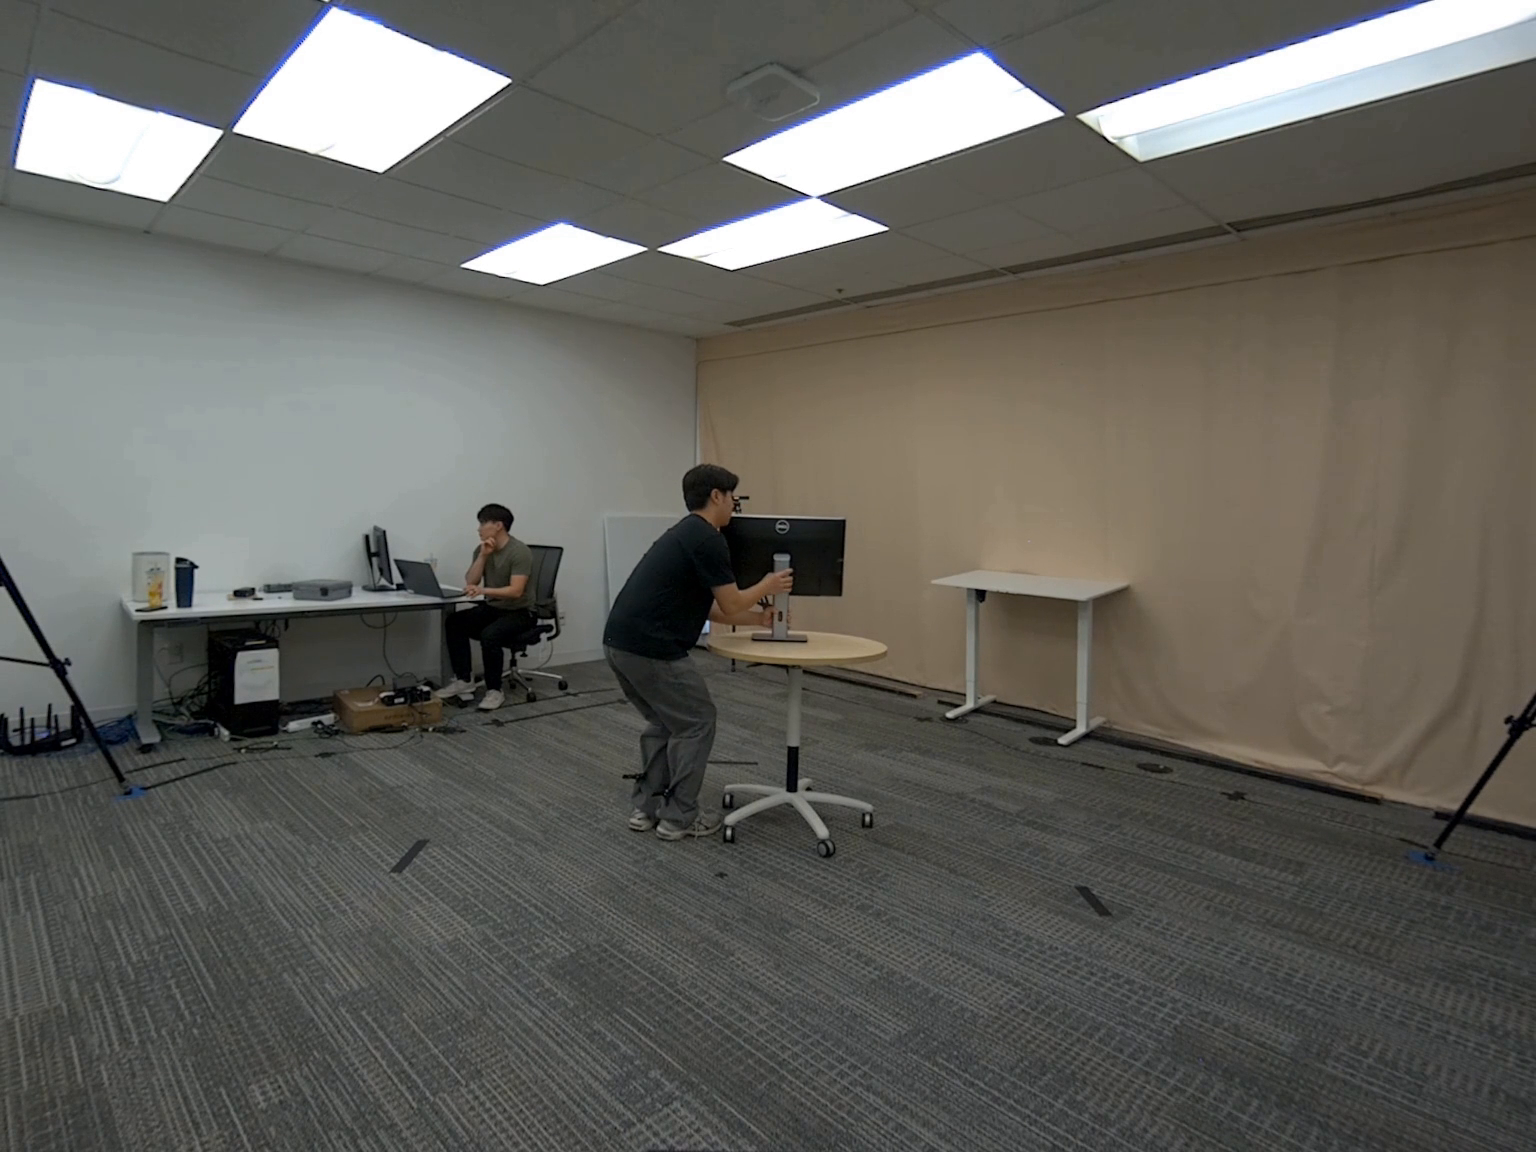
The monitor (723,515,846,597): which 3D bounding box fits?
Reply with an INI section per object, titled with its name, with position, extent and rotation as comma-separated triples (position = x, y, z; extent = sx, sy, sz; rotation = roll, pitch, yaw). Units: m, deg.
[monitor]
position = 0.048, 0.012, 3.712
extent = 0.563, 0.566, 0.221
rotation = 2, -1, 4
